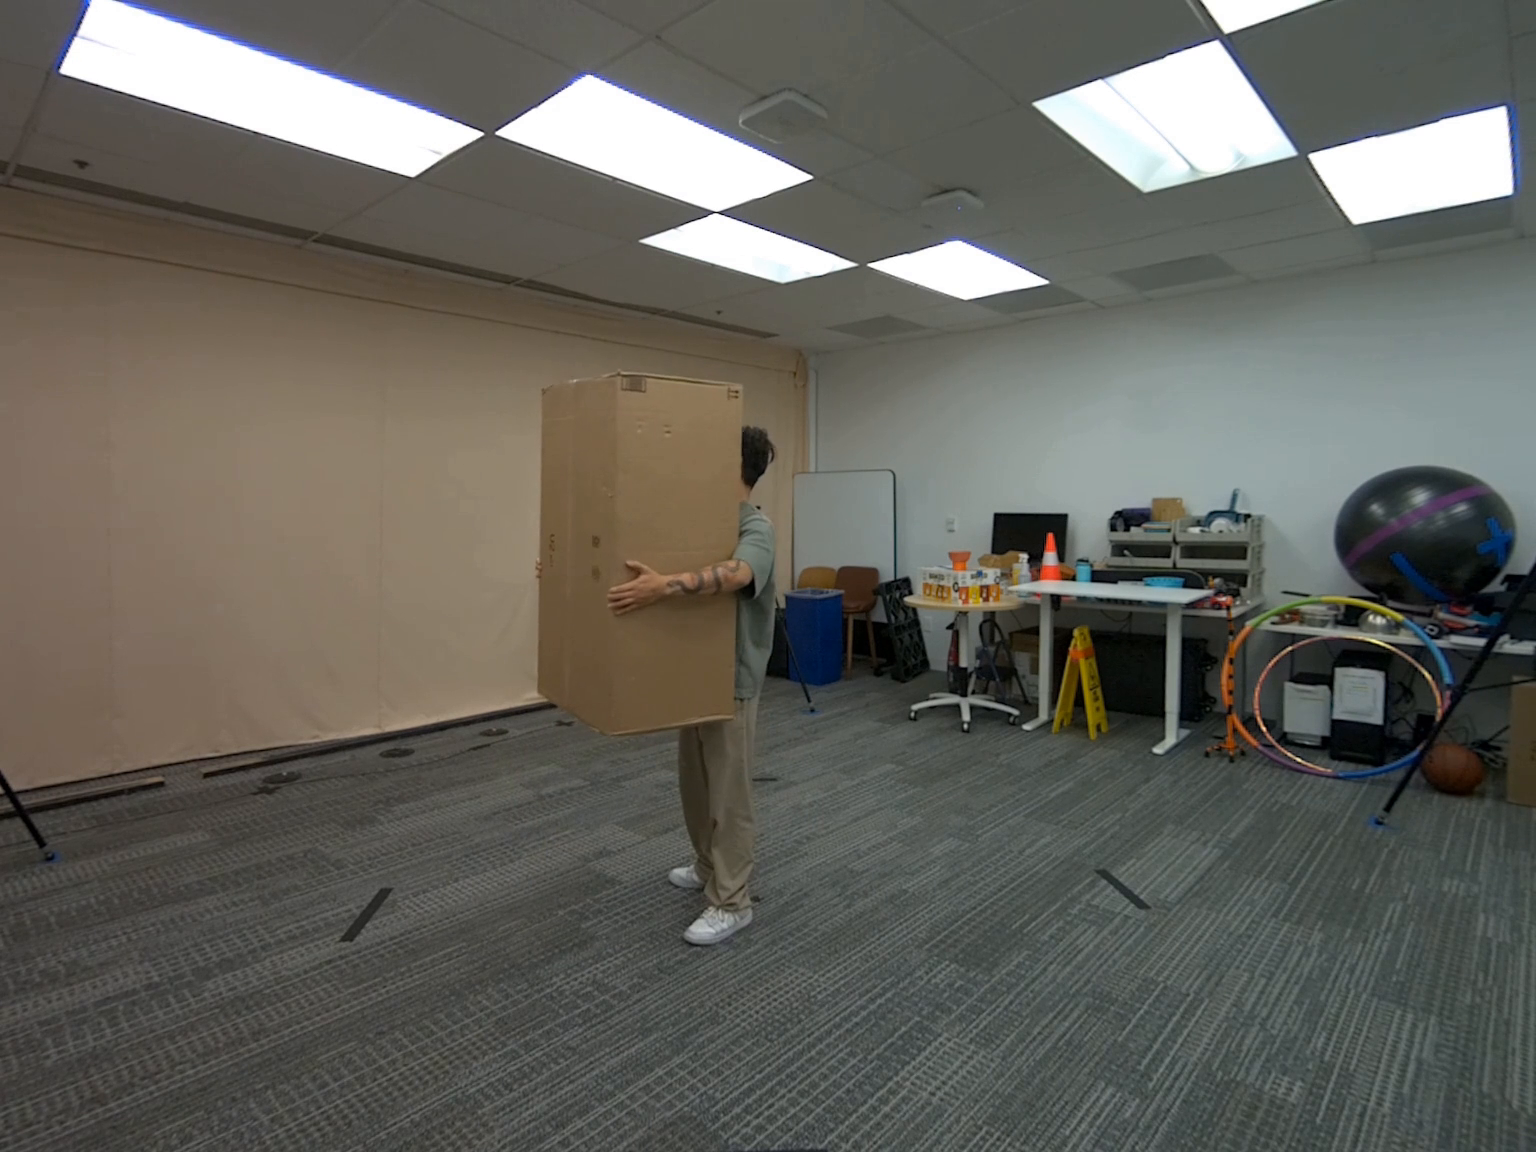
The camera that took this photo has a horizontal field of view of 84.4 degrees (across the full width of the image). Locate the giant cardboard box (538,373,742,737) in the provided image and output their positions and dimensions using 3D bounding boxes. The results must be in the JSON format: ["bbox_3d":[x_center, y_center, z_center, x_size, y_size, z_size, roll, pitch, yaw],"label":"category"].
[{"bbox_3d":[-0.420,-0.090,2.681,0.414,1.023,0.596,-1,5,-34],"label":"giant cardboard box"}]
